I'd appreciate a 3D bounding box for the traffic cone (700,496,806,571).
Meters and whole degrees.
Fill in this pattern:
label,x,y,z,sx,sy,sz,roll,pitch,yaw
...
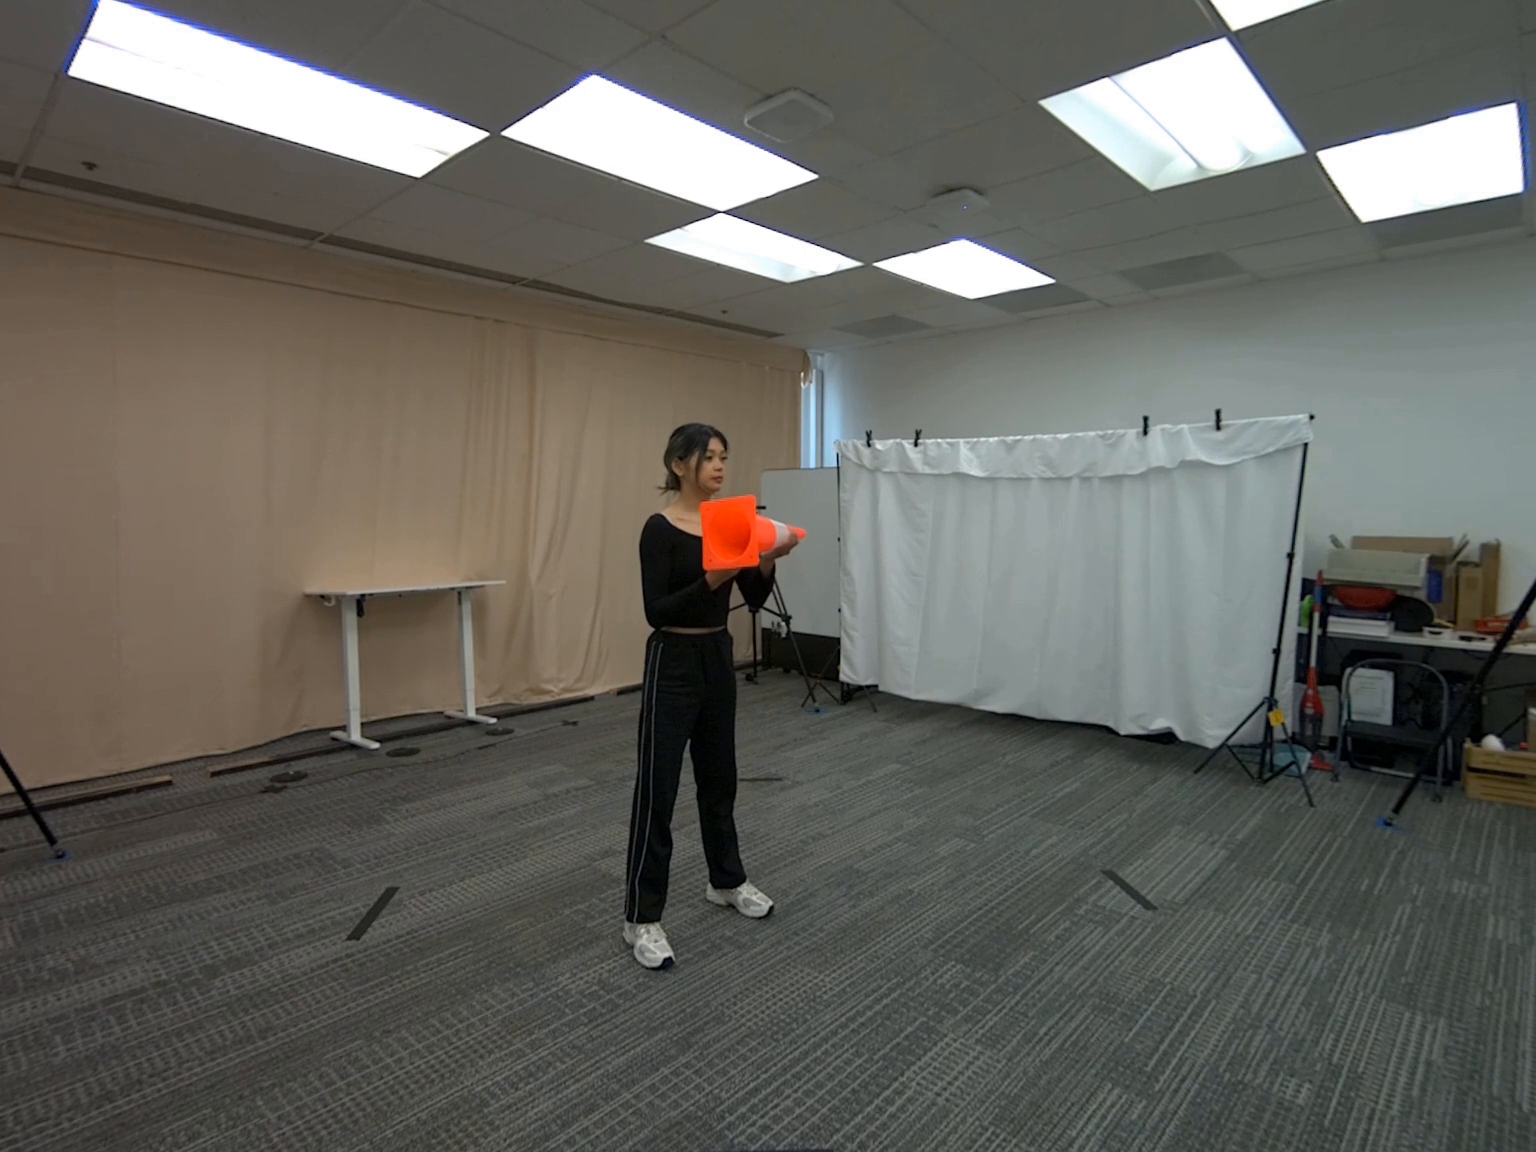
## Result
label,x,y,z,sx,sy,sz,roll,pitch,yaw
traffic cone,-0.006,-0.126,2.549,0.209,0.205,0.372,-6,-2,36
